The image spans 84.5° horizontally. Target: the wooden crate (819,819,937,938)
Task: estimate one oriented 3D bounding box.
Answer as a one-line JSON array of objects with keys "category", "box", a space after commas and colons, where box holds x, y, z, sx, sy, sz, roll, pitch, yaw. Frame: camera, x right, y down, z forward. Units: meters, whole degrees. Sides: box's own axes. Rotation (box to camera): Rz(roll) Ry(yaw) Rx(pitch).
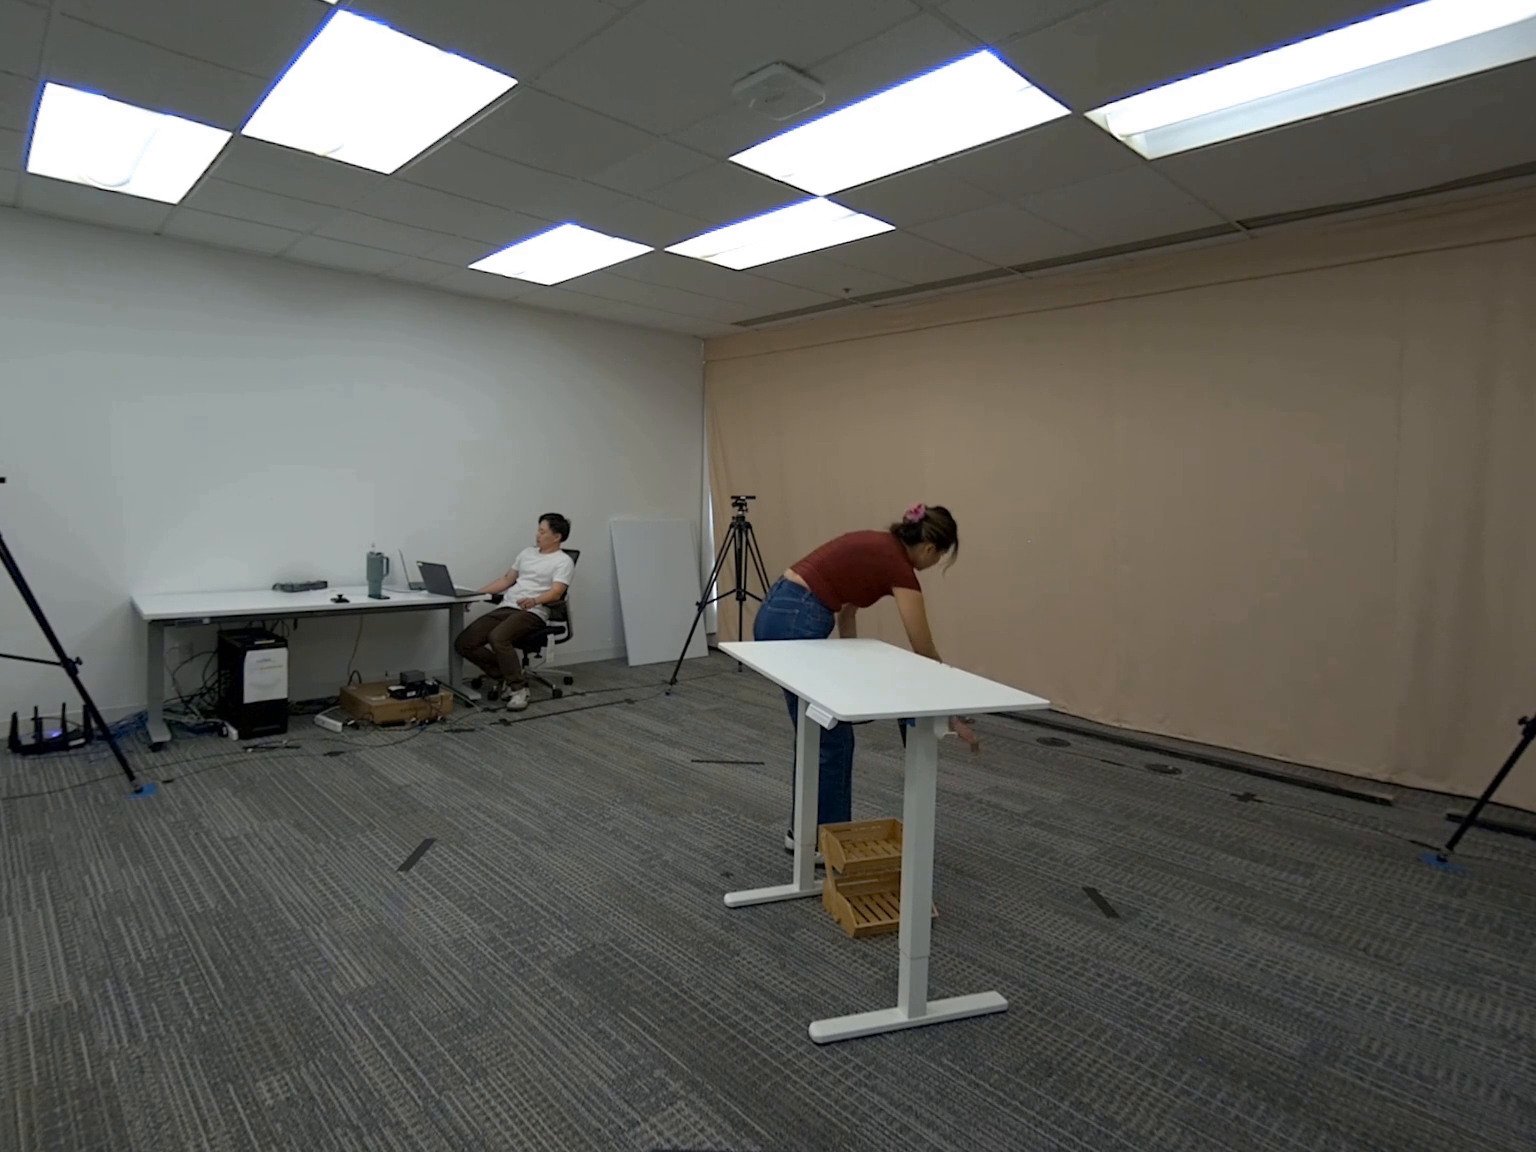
[{"category": "wooden crate", "box": [0.363, 1.010, 2.830, 0.320, 0.272, 0.307, 0, 5, -19]}]
